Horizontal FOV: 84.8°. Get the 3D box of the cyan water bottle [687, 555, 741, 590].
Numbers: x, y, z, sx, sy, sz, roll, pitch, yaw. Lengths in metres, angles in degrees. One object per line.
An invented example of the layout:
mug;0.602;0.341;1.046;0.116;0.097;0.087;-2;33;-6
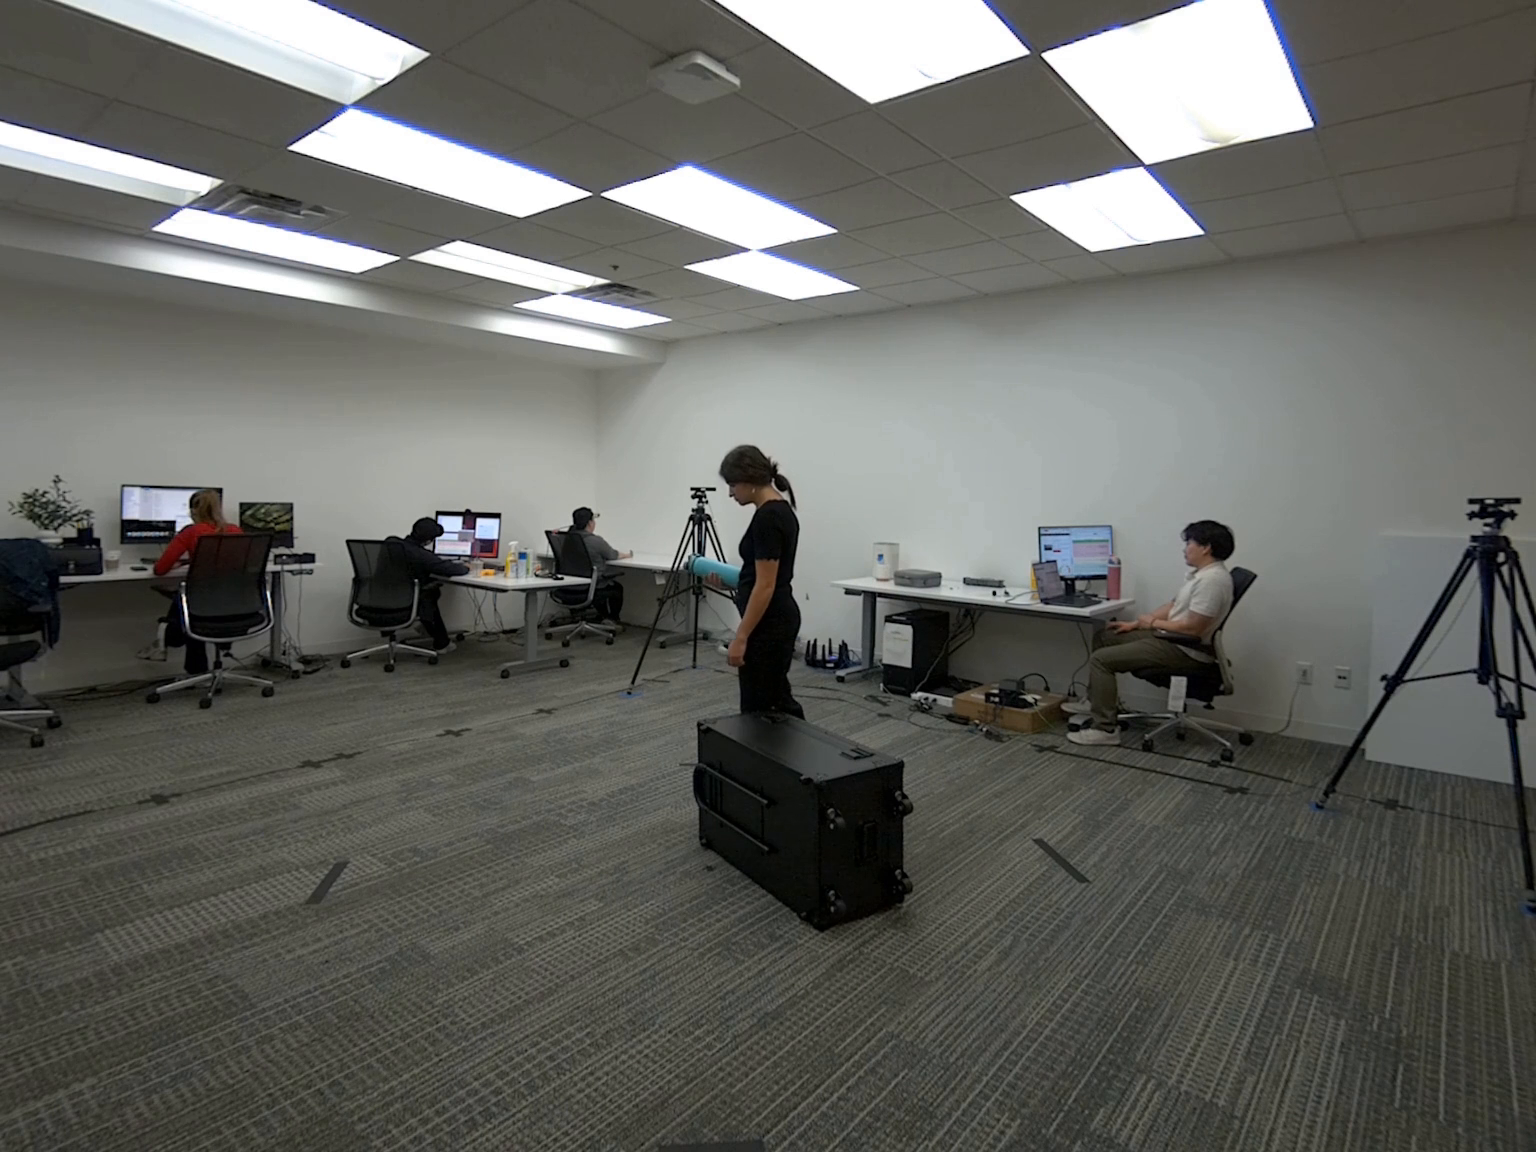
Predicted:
cyan water bottle;-0.245;-0.028;3.741;0.290;0.092;0.091;17;9;17
